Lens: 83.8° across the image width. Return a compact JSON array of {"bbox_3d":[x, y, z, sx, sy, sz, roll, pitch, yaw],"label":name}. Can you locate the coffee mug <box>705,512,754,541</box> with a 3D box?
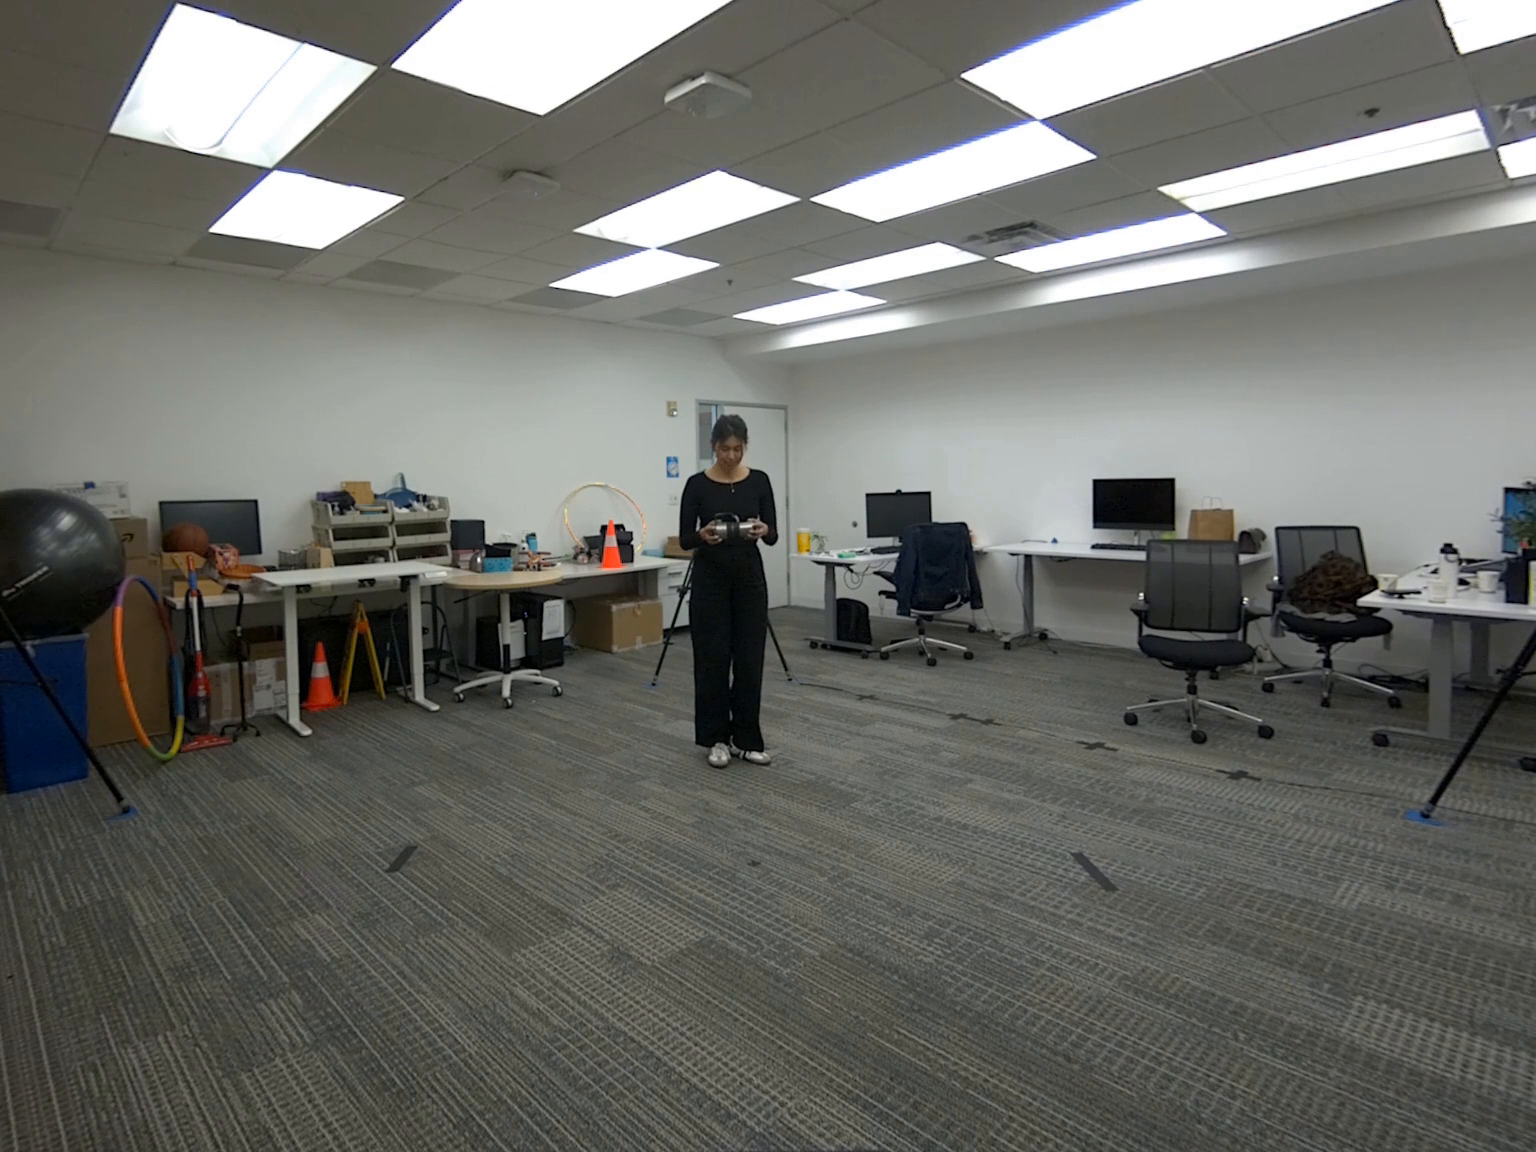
[{"bbox_3d":[-0.174,-0.212,3.869,0.204,0.118,0.090,-3,34,4],"label":"coffee mug"}]
